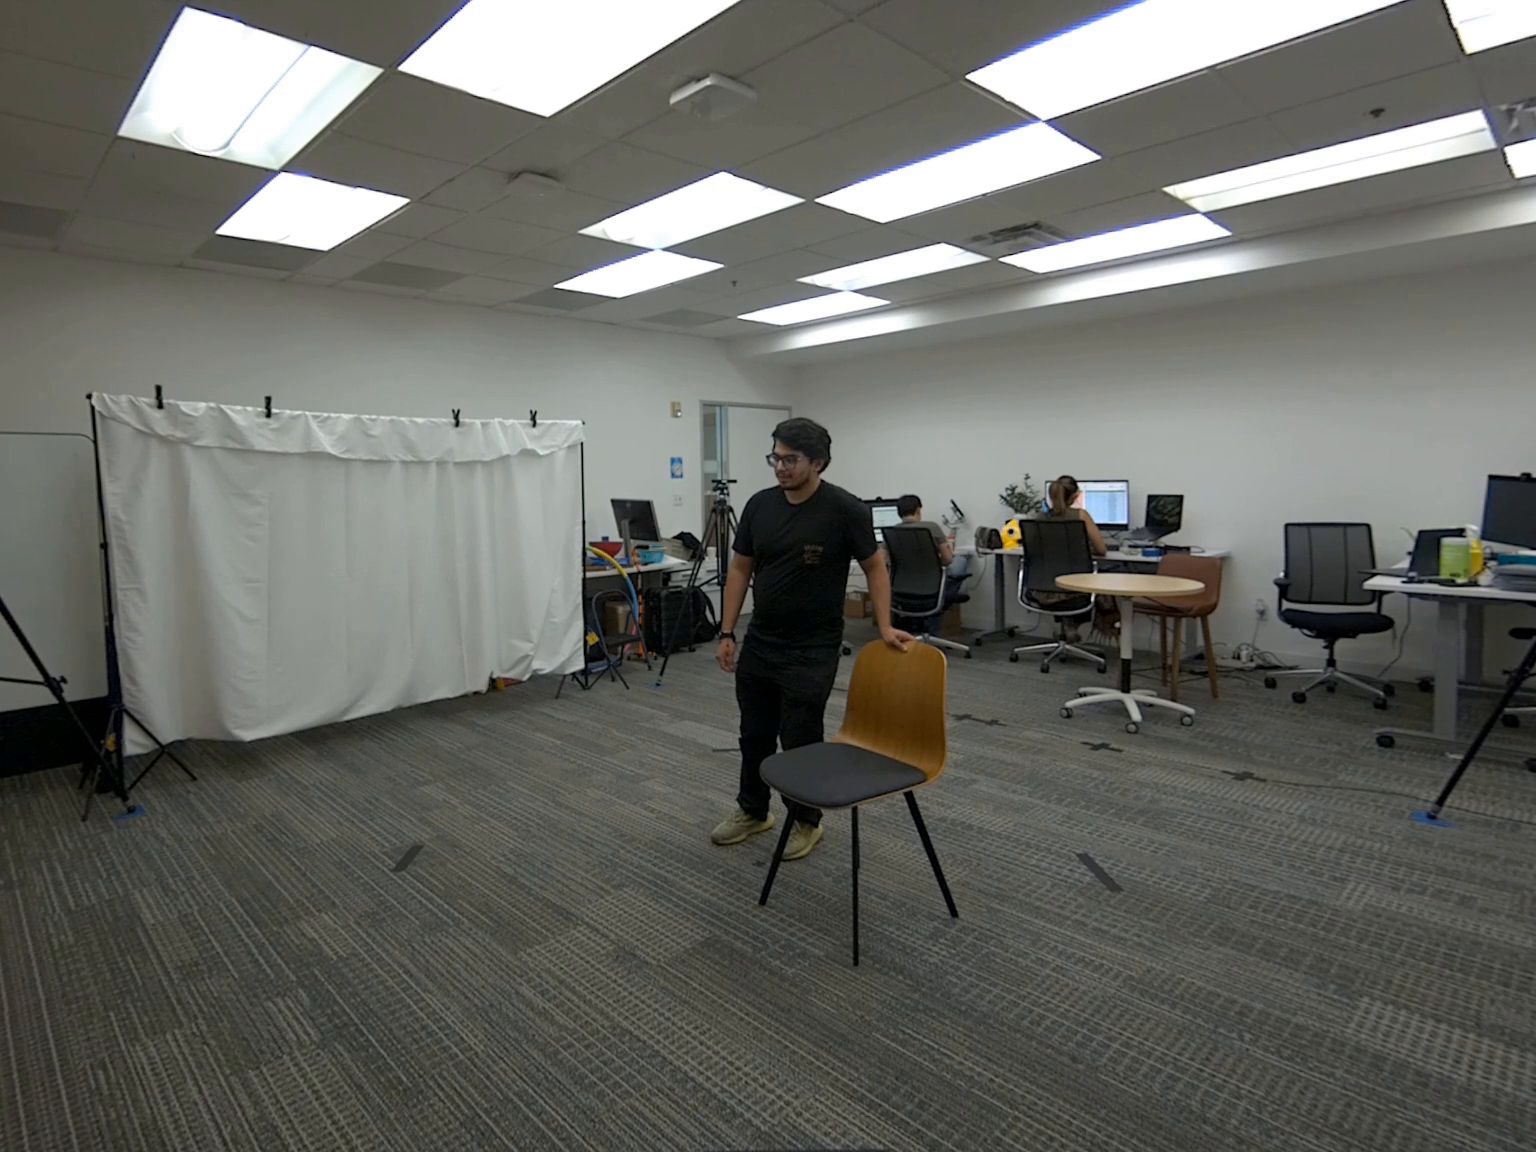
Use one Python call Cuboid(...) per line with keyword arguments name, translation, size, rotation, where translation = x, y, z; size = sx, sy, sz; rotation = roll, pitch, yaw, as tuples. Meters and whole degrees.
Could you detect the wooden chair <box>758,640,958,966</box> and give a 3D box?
Cuboid(name="wooden chair", translation=(0.279, 0.661, 2.714), size=(0.508, 0.877, 0.492), rotation=(1, 2, -38))
